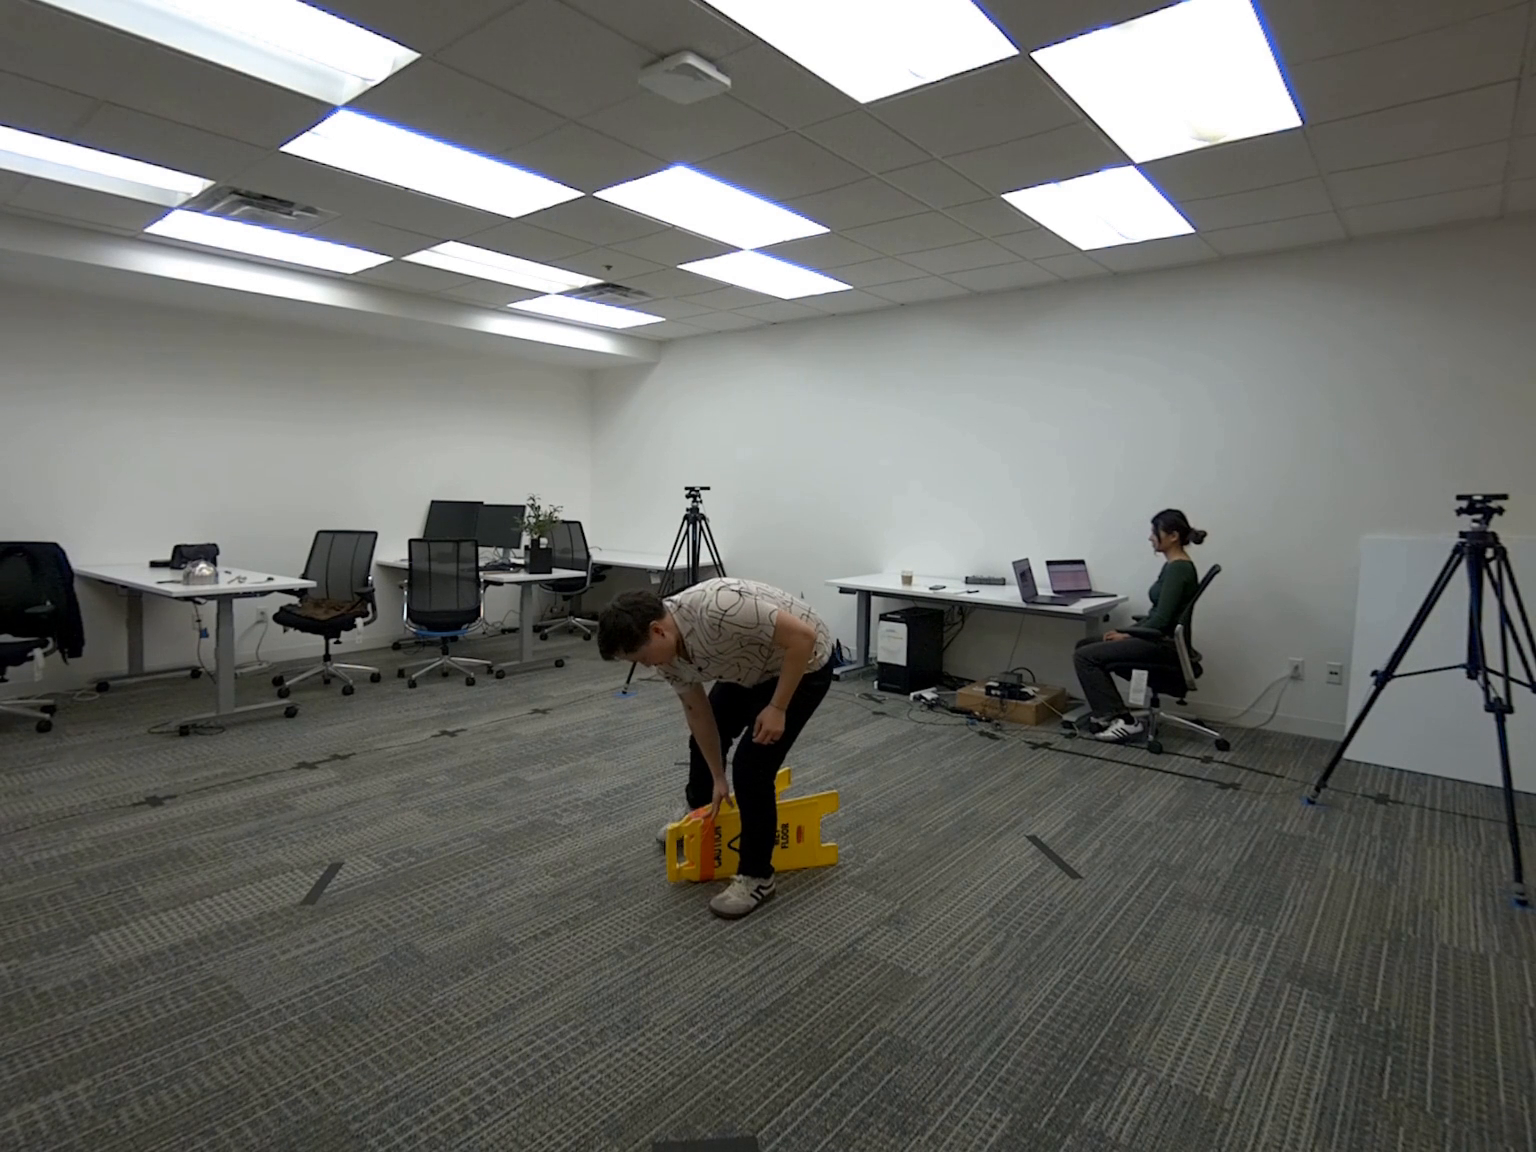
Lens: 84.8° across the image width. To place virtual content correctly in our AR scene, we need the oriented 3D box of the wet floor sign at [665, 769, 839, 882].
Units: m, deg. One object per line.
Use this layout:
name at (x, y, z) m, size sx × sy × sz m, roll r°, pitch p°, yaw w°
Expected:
wet floor sign at (-0.095, 0.936, 3.111) m, size 0.629 × 0.281 × 0.299 m, roll -5°, pitch 8°, yaw -34°
